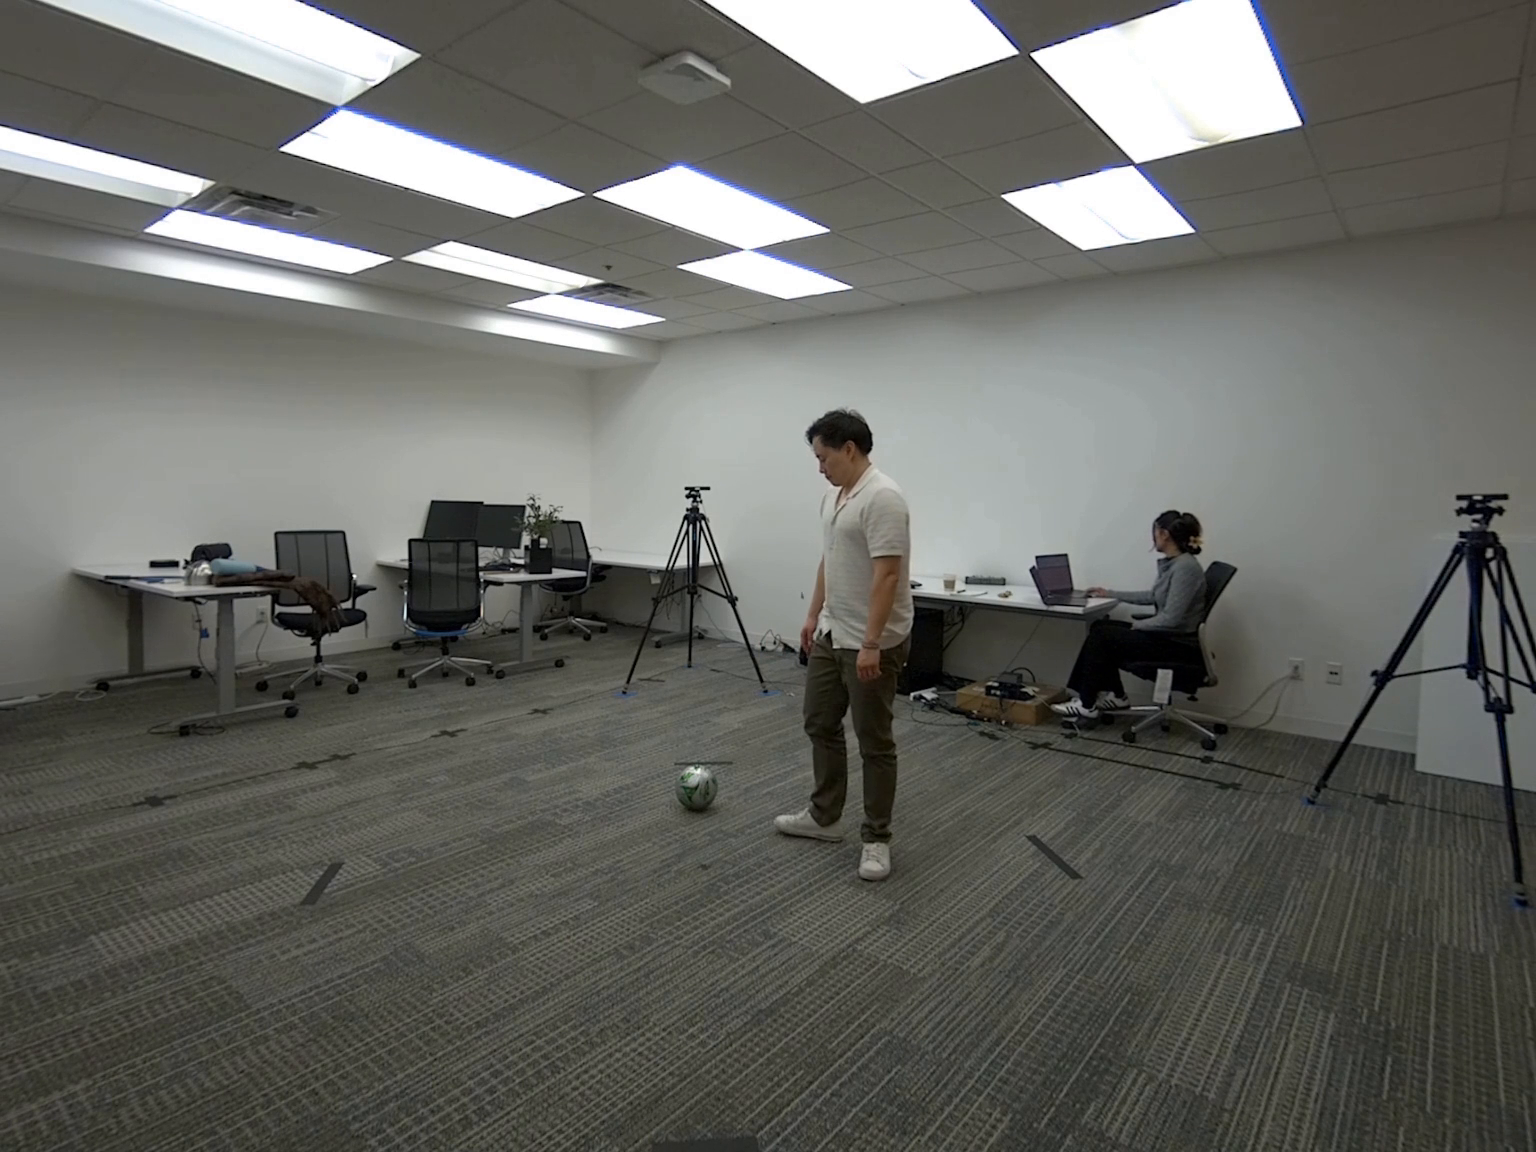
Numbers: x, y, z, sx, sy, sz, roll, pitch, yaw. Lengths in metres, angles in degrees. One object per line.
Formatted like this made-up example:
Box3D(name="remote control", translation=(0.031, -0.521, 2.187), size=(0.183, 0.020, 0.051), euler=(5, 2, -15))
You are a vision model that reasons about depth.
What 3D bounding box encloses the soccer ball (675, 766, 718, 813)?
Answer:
Box3D(name="soccer ball", translation=(-0.321, 0.911, 3.685), size=(0.187, 0.187, 0.188), euler=(0, 4, -2))
